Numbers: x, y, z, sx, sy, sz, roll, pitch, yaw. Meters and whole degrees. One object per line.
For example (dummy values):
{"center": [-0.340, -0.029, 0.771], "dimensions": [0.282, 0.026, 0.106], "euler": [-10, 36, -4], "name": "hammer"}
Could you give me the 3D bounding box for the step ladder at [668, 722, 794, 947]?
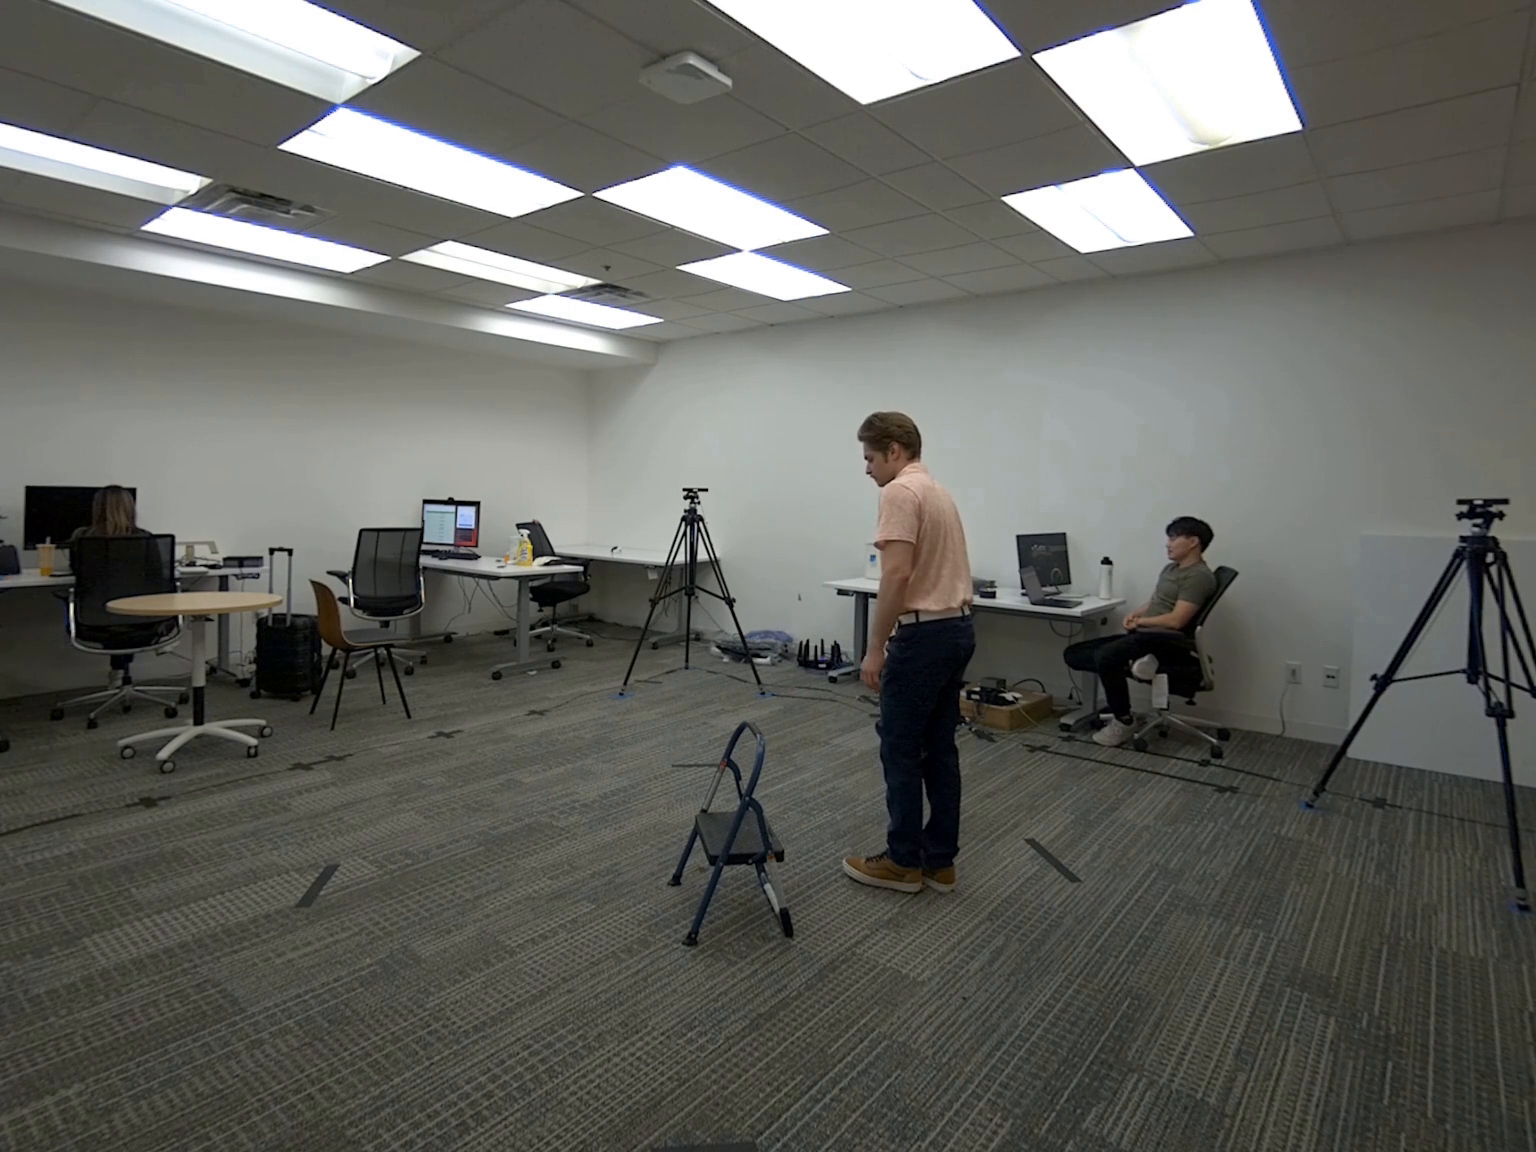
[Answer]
{"center": [-0.125, 0.800, 2.800], "dimensions": [0.345, 0.604, 0.437], "euler": [1, 4, -13], "name": "step ladder"}
